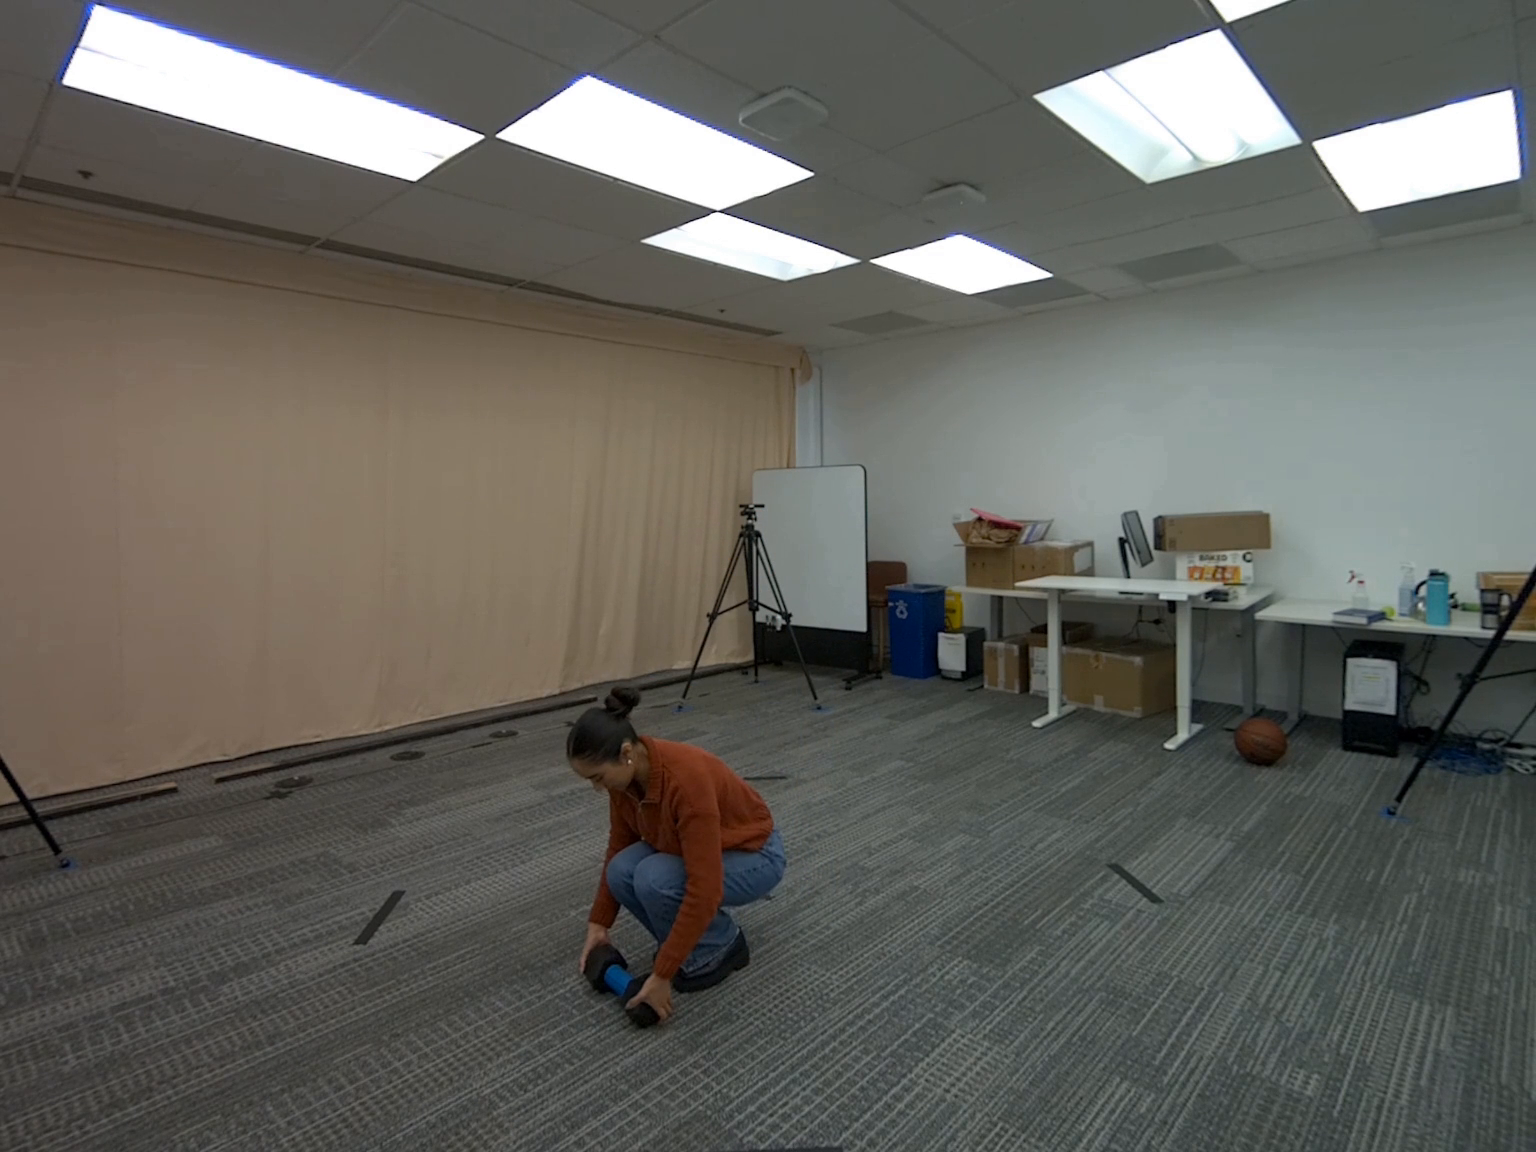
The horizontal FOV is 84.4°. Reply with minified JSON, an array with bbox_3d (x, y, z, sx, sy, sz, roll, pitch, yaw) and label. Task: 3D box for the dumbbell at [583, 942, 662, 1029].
[{"bbox_3d":[-0.401,1.144,2.369,0.107,0.120,0.303,-38,24,-30],"label":"dumbbell"}]
